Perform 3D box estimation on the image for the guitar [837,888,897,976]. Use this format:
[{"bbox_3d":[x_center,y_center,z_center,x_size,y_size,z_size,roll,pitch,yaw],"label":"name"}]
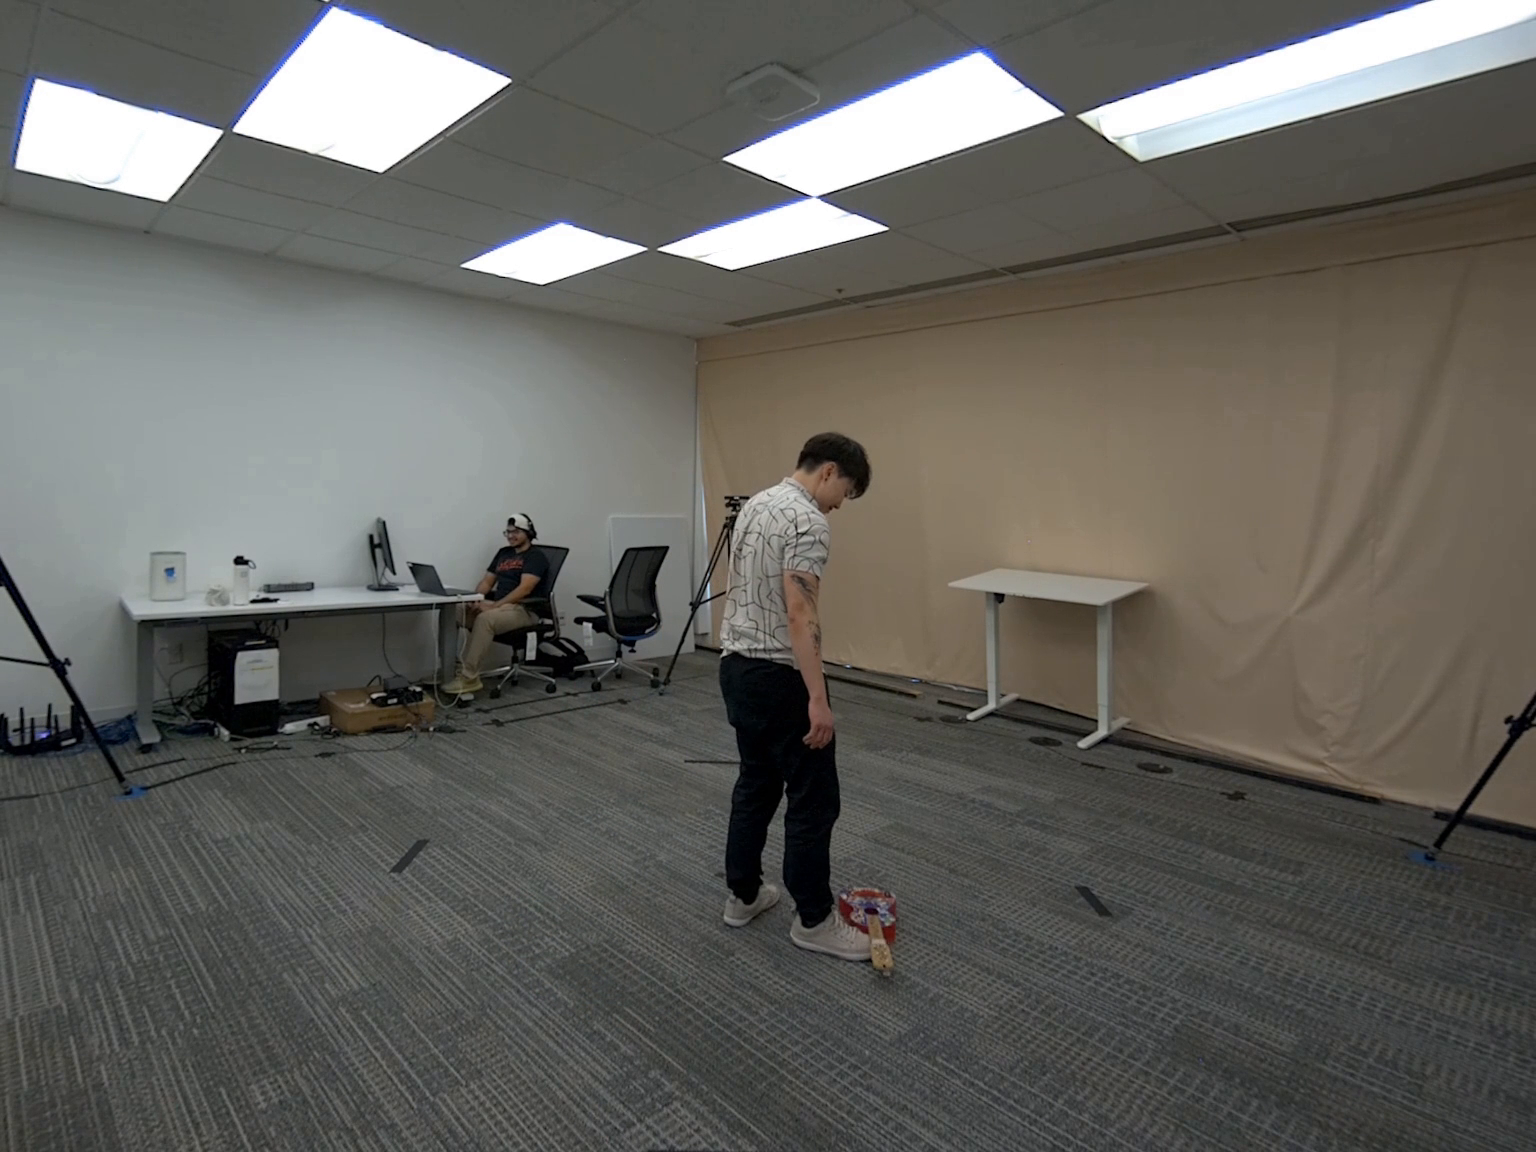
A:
[{"bbox_3d":[0.293,1.120,2.656,0.195,0.070,0.495,3,5,9],"label":"guitar"}]
